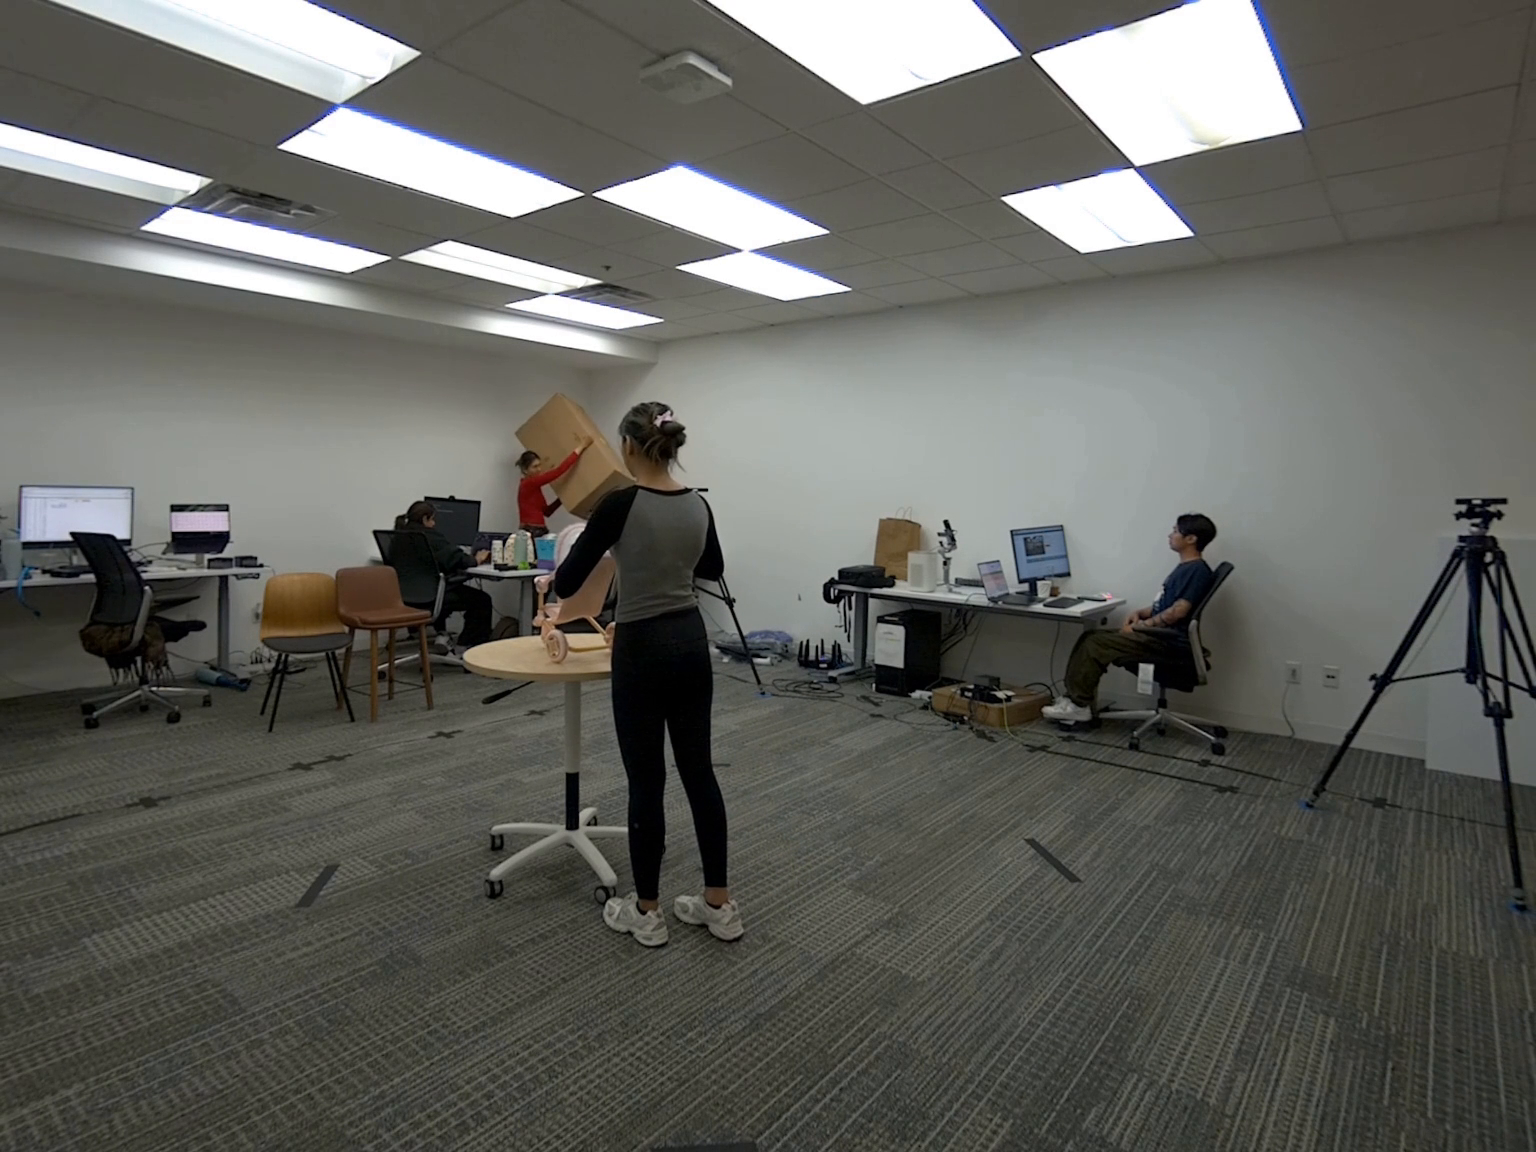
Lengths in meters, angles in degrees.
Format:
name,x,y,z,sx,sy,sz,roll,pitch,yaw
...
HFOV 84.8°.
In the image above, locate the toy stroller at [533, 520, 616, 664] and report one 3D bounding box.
name,x,y,z,sx,sy,sz,roll,pitch,yaw
toy stroller,-0.684,0.048,2.995,0.273,0.529,0.356,-3,22,-42
